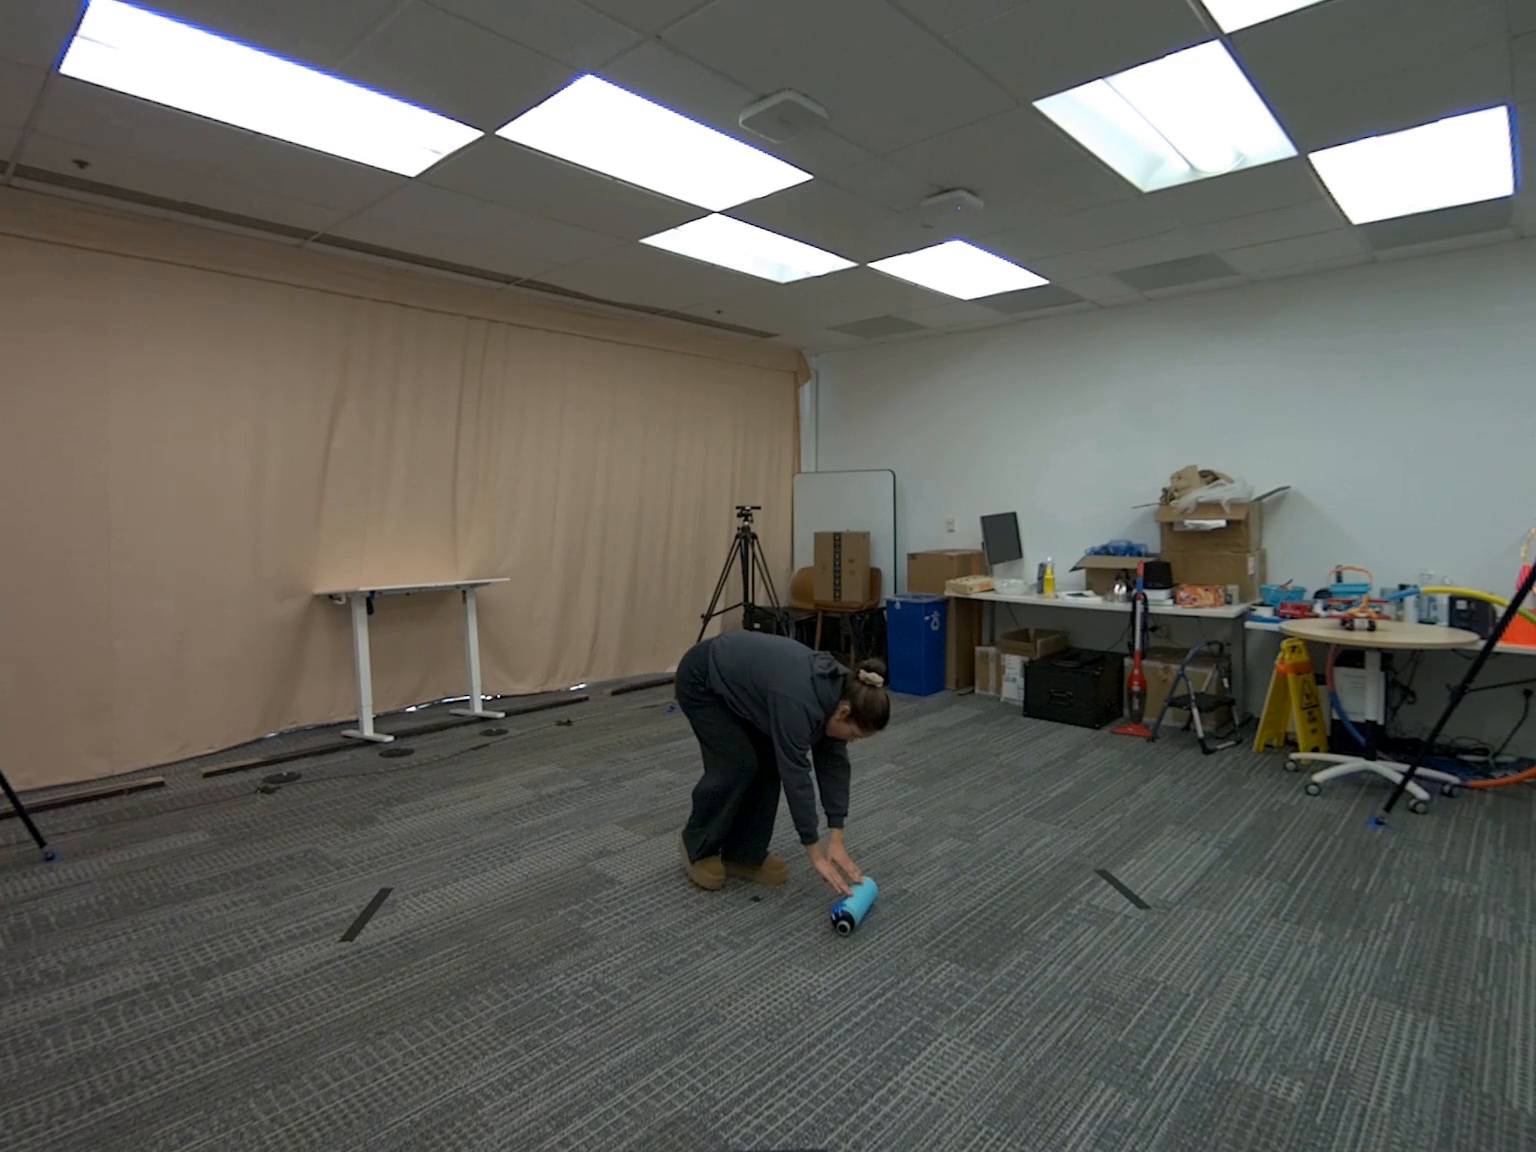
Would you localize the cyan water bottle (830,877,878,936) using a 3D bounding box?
[{"bbox_3d":[0.310,1.103,2.832,0.095,0.092,0.277,2,5,25],"label":"cyan water bottle"}]
